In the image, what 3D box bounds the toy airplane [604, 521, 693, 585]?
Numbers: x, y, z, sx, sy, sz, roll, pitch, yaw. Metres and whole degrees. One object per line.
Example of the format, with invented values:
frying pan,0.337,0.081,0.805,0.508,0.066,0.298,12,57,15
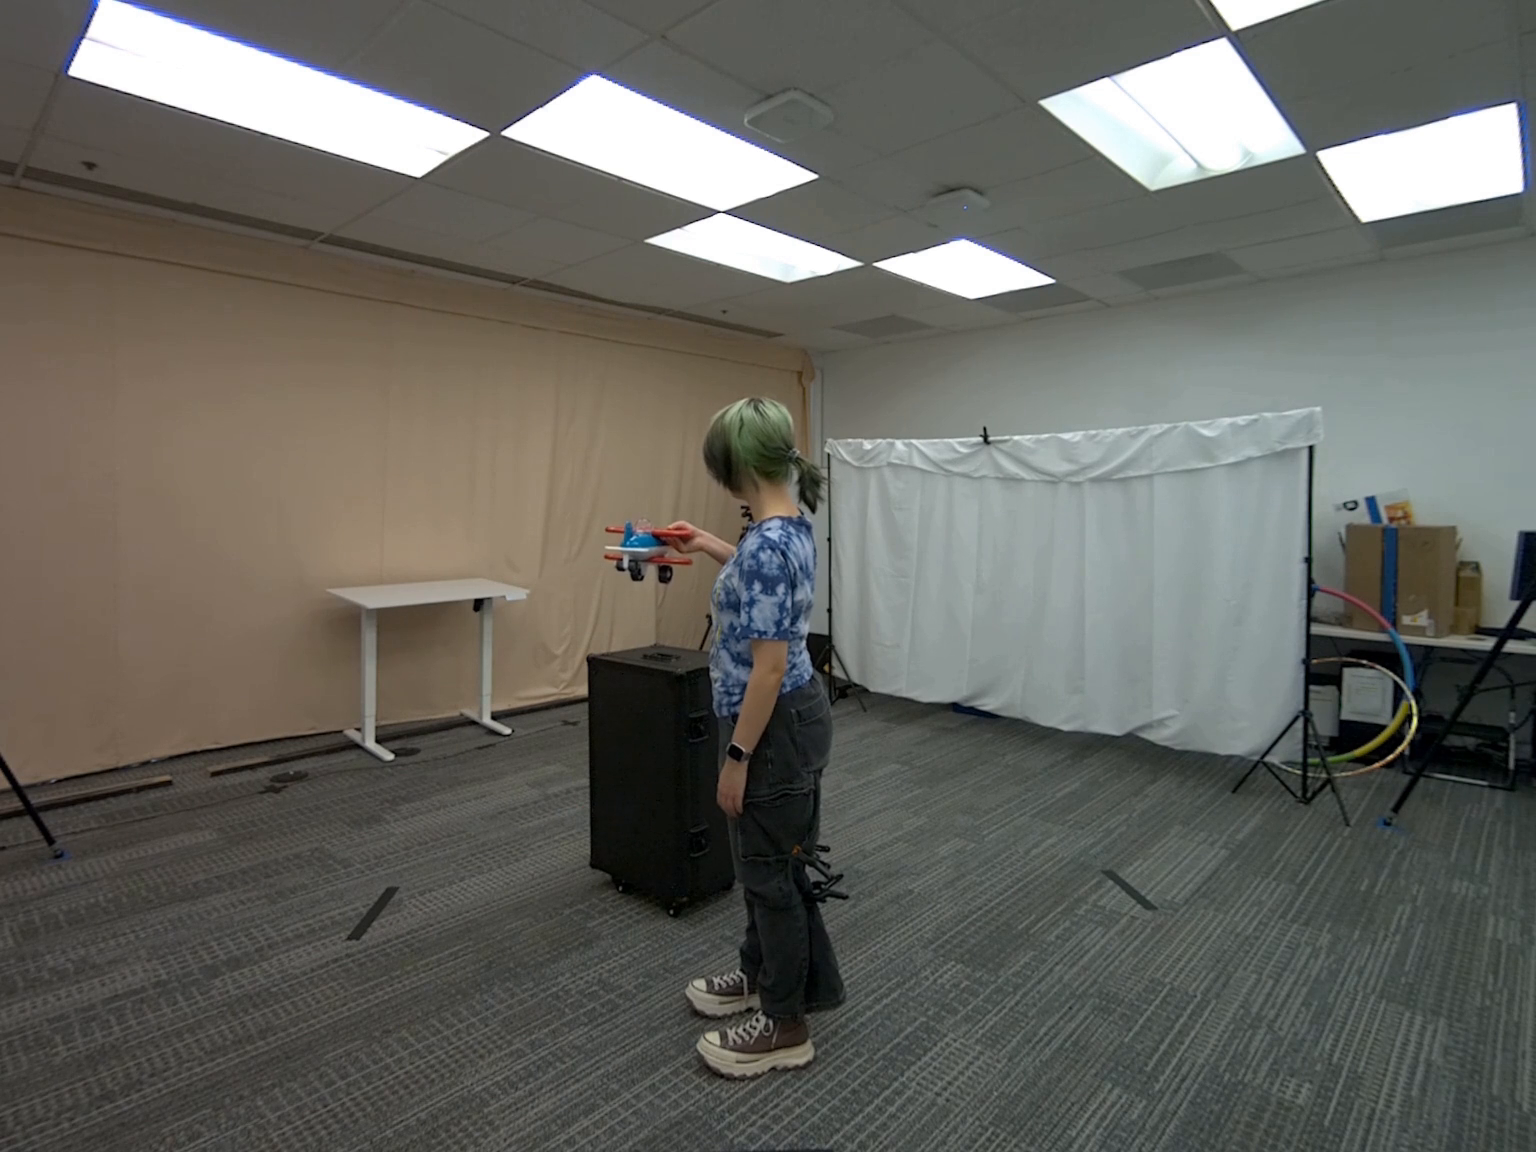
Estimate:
toy airplane,-0.321,-0.067,2.304,0.247,0.157,0.261,10,-11,-13
